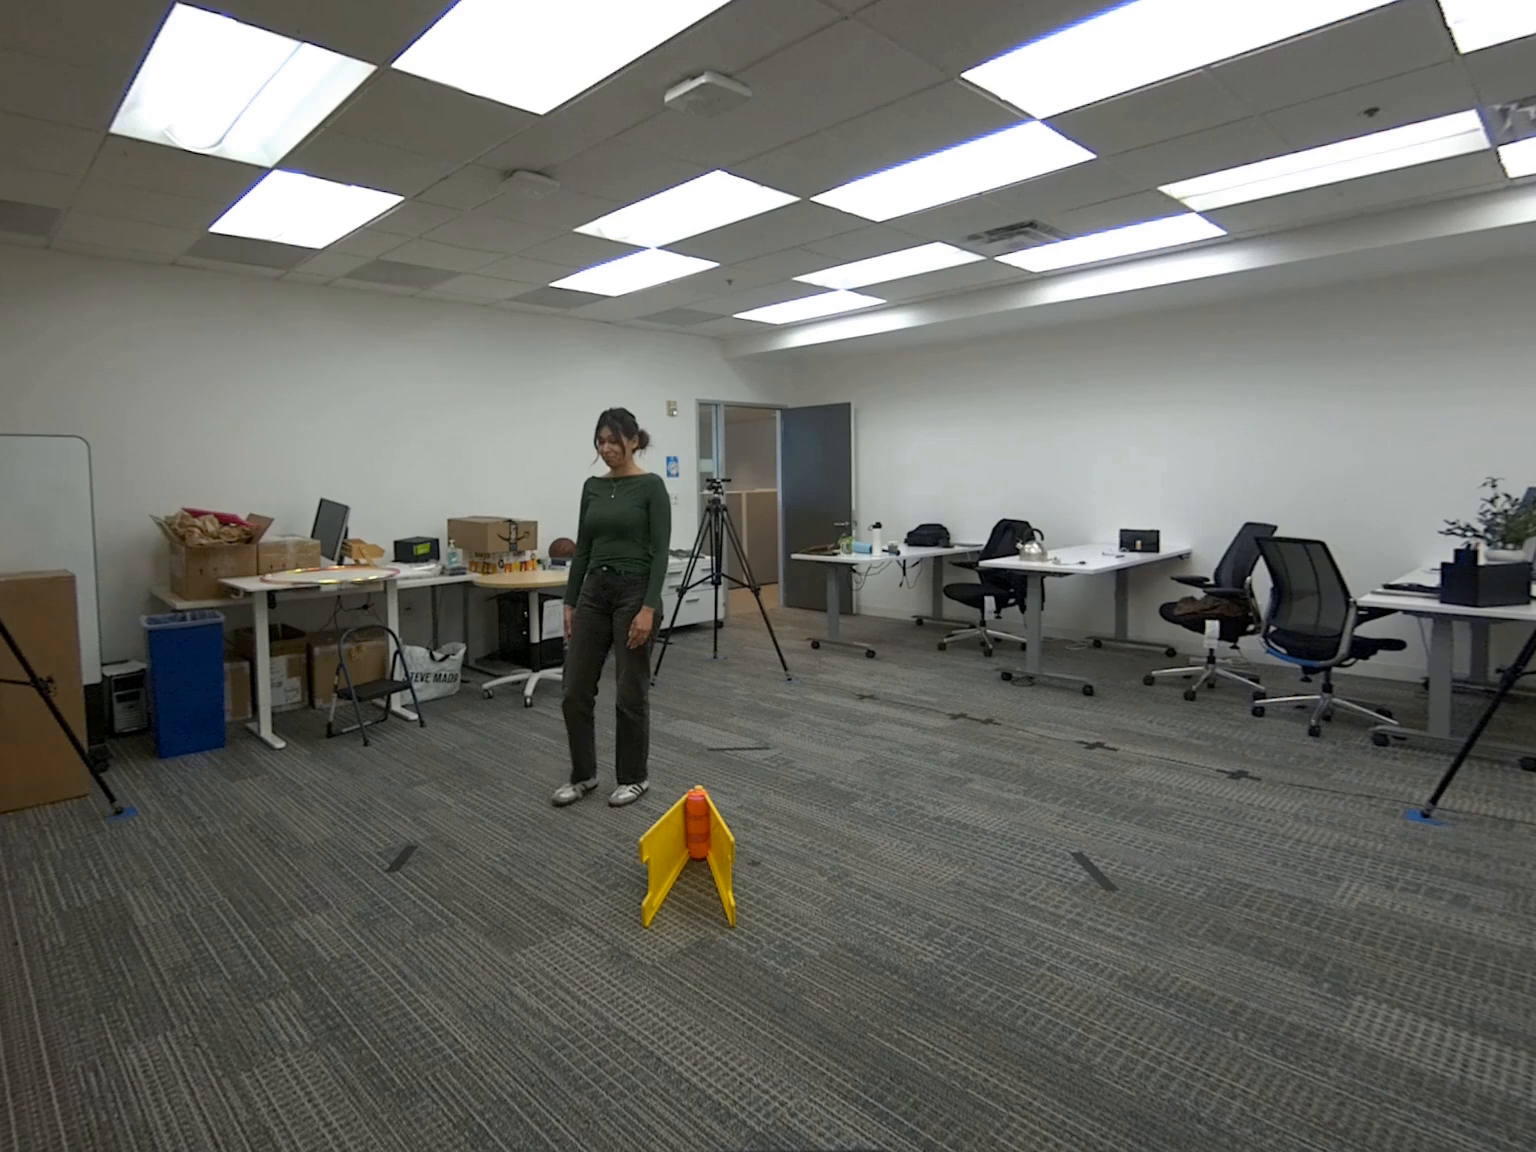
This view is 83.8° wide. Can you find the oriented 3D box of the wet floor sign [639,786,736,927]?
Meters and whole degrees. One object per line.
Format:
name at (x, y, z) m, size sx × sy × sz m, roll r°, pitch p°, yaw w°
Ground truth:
wet floor sign at (-0.258, 0.928, 2.987) m, size 0.290 × 0.281 × 0.648 m, roll -1°, pitch 4°, yaw -1°
